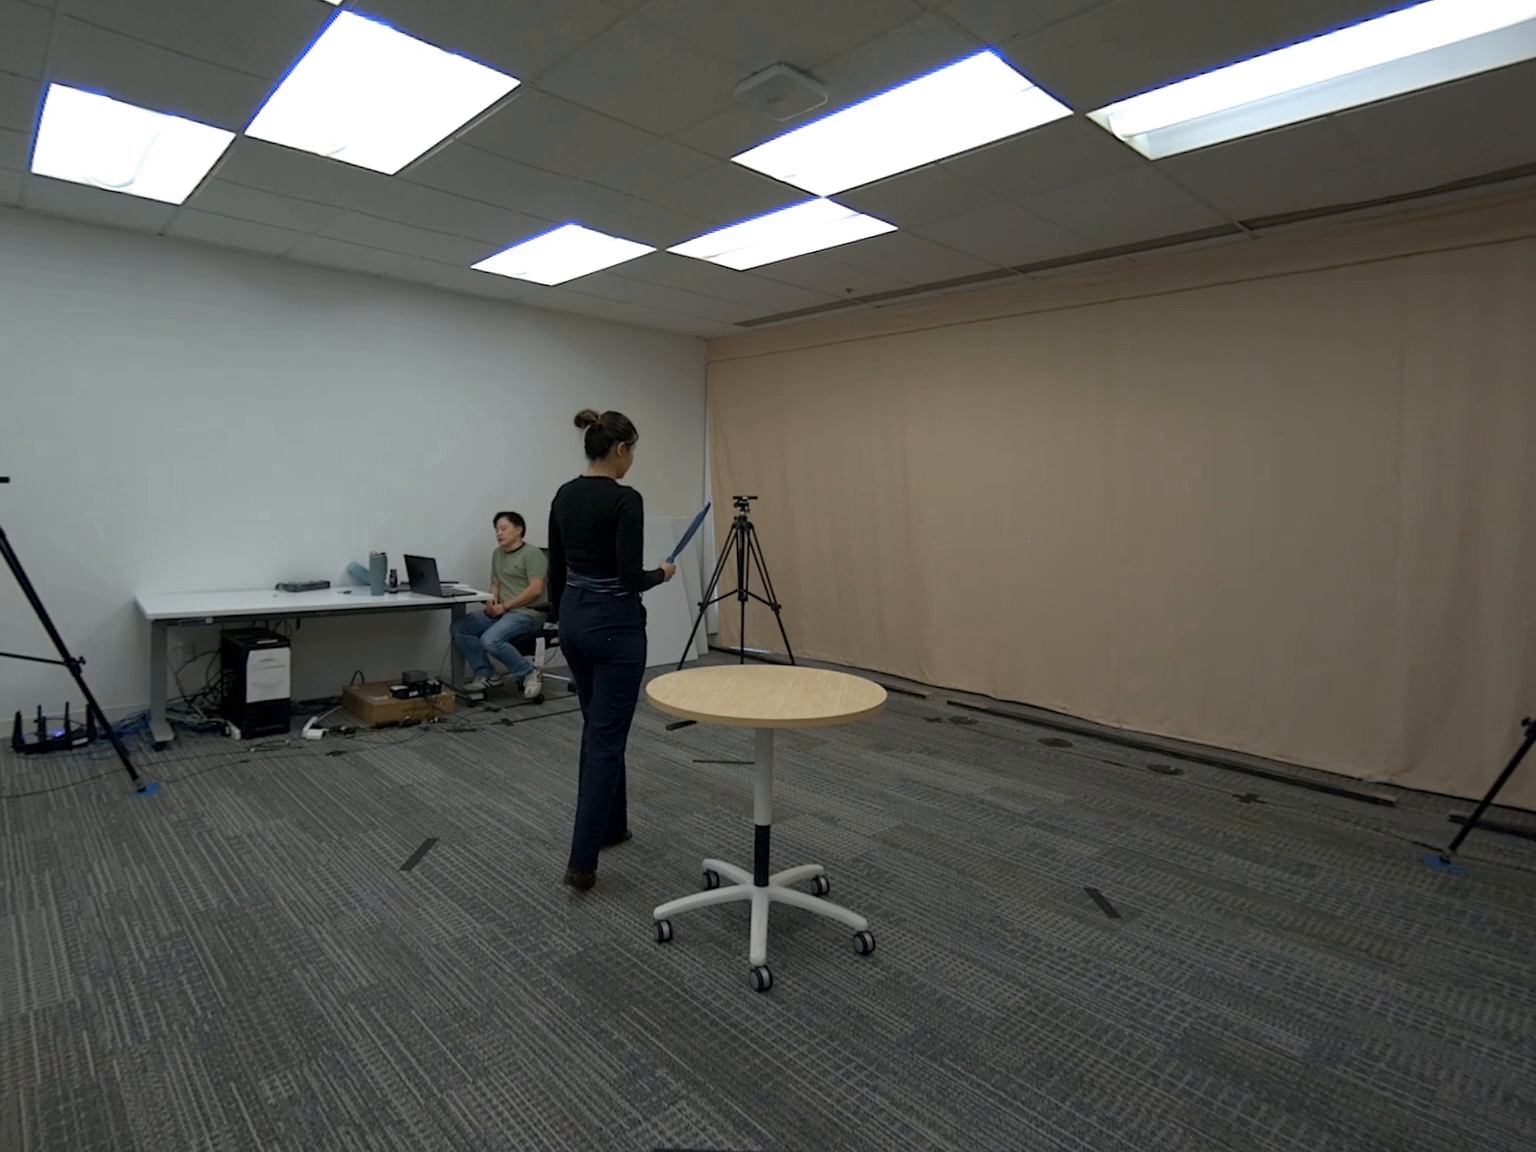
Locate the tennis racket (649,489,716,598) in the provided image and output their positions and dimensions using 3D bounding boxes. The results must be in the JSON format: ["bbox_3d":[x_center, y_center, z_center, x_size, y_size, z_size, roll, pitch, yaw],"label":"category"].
[{"bbox_3d":[-0.342,-0.134,3.365,0.032,0.435,0.211,28,-36,3],"label":"tennis racket"}]
